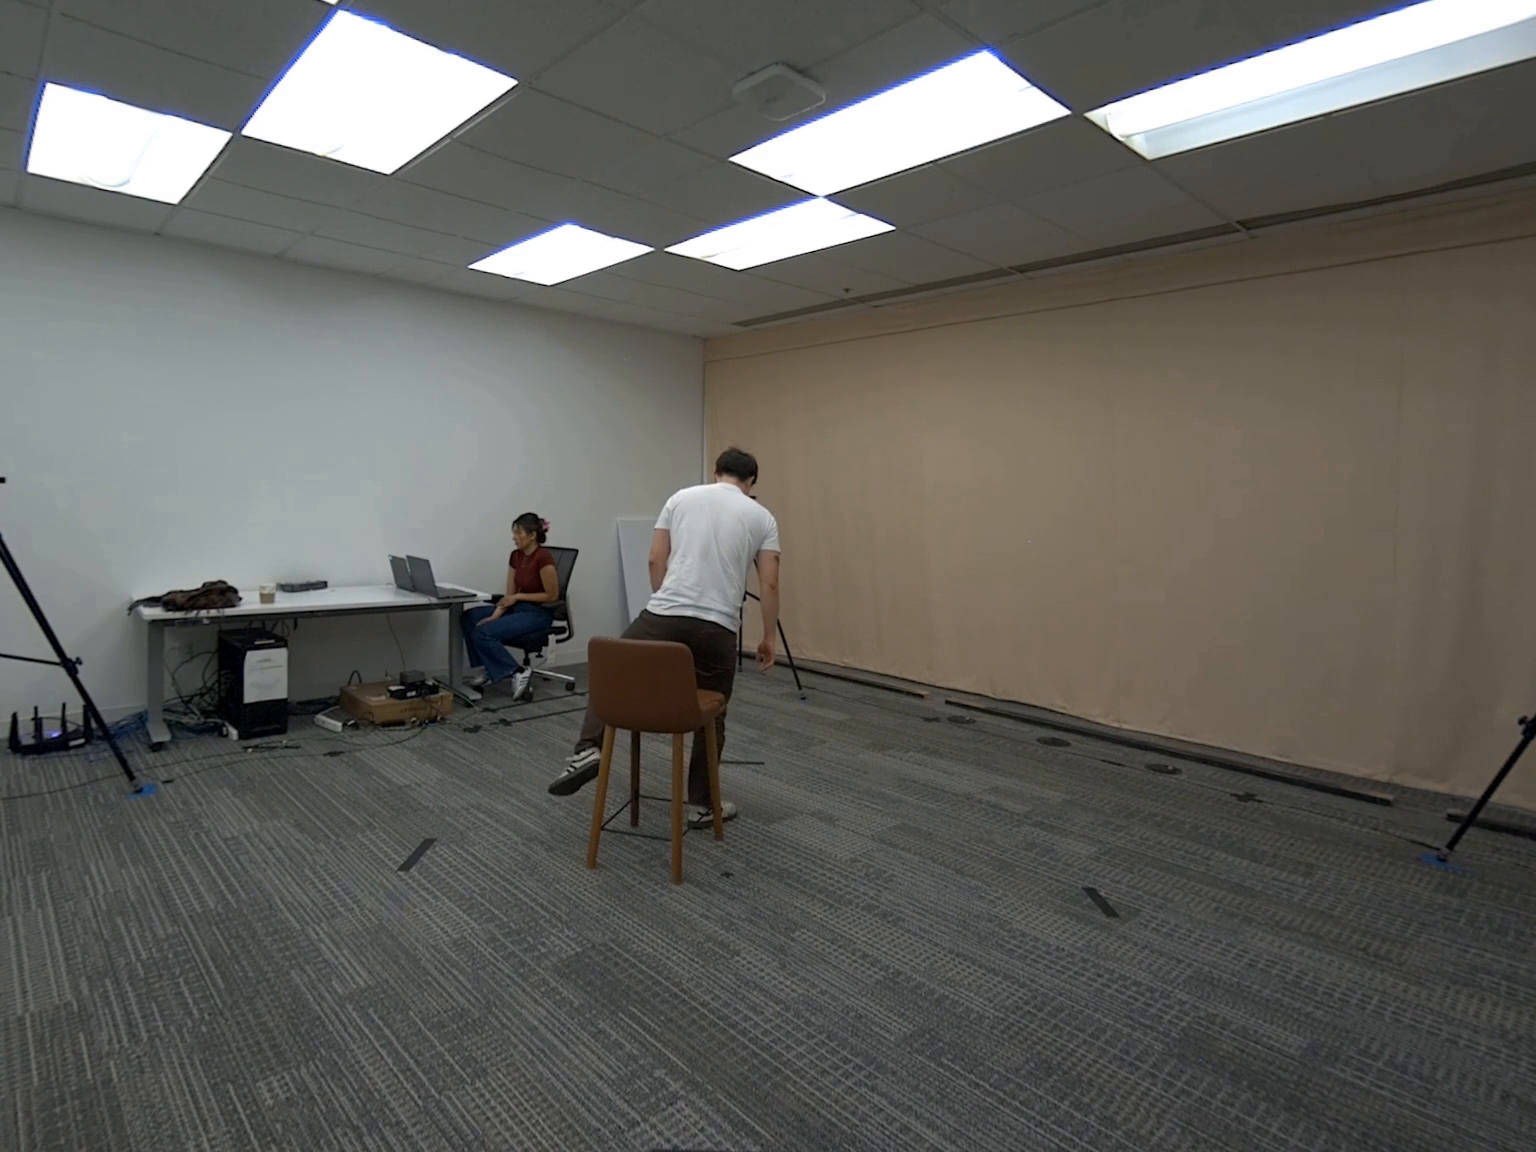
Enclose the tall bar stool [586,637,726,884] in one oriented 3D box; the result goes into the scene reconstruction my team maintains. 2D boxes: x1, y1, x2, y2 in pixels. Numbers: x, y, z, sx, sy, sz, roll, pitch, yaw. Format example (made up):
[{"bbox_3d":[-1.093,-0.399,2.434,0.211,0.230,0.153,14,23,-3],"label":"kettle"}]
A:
[{"bbox_3d":[-0.441,0.649,3.255,0.463,0.887,0.462,2,5,18],"label":"tall bar stool"}]
